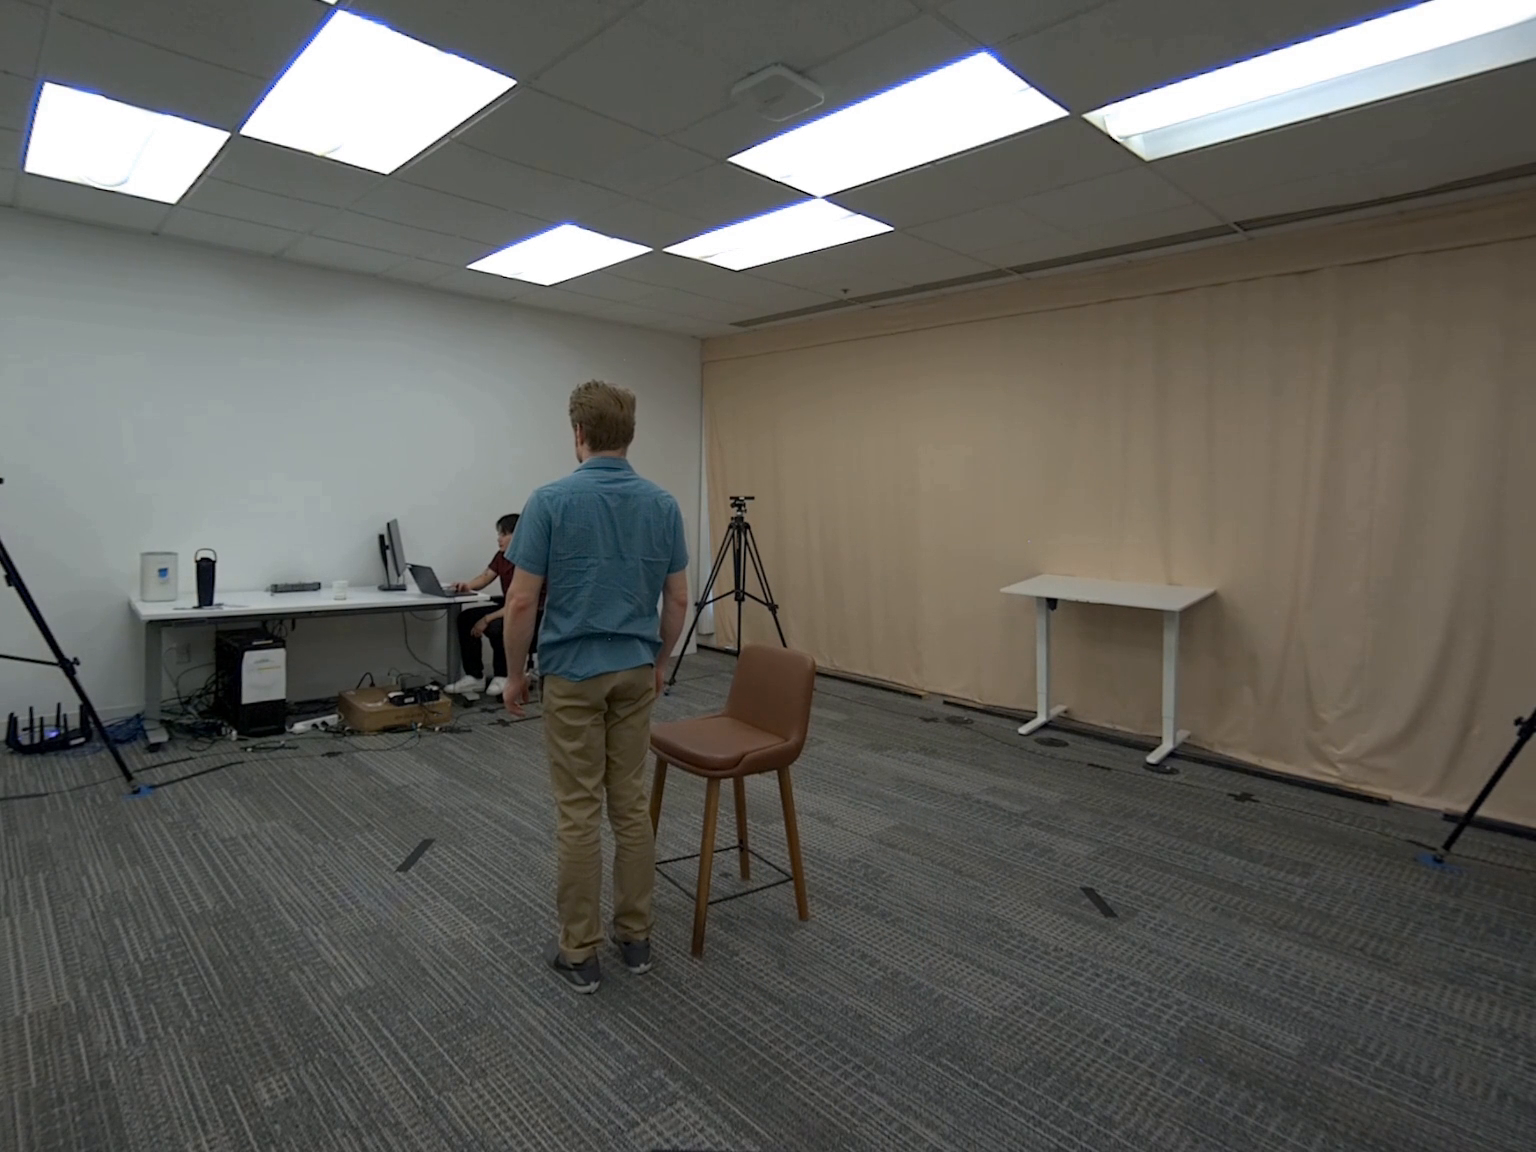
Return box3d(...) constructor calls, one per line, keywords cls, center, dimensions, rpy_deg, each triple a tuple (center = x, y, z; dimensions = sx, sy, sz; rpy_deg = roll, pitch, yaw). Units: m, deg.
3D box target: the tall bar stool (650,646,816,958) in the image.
box3d(cls="tall bar stool", center=(-0.143, 0.696, 2.804), dimensions=(0.457, 0.888, 0.467), rpy_deg=(1, 3, -34))
